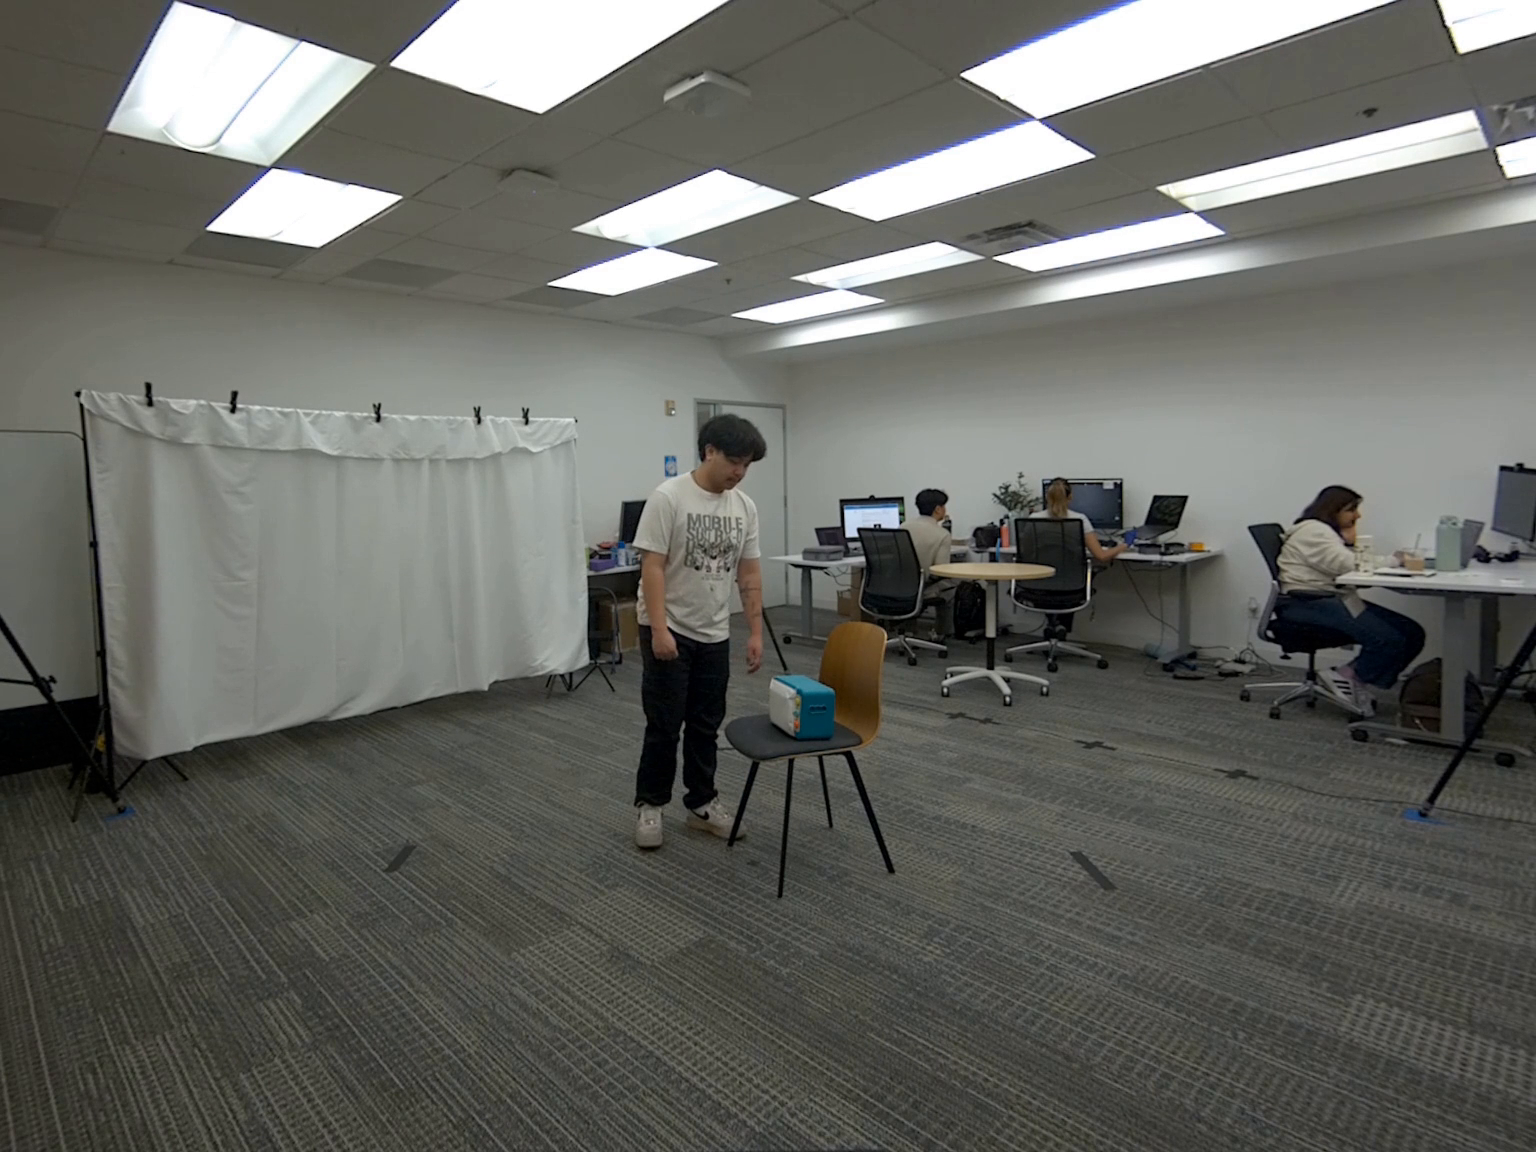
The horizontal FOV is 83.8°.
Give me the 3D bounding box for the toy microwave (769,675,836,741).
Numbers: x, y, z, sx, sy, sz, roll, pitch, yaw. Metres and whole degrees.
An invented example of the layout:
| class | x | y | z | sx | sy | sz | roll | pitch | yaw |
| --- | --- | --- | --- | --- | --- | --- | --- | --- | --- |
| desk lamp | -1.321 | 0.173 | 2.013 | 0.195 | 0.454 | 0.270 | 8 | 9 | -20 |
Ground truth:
| class | x | y | z | sx | sy | sz | roll | pitch | yaw |
| --- | --- | --- | --- | --- | --- | --- | --- | --- | --- |
| toy microwave | 0.116 | 0.470 | 3.074 | 0.149 | 0.184 | 0.292 | 1 | 4 | -21 |
